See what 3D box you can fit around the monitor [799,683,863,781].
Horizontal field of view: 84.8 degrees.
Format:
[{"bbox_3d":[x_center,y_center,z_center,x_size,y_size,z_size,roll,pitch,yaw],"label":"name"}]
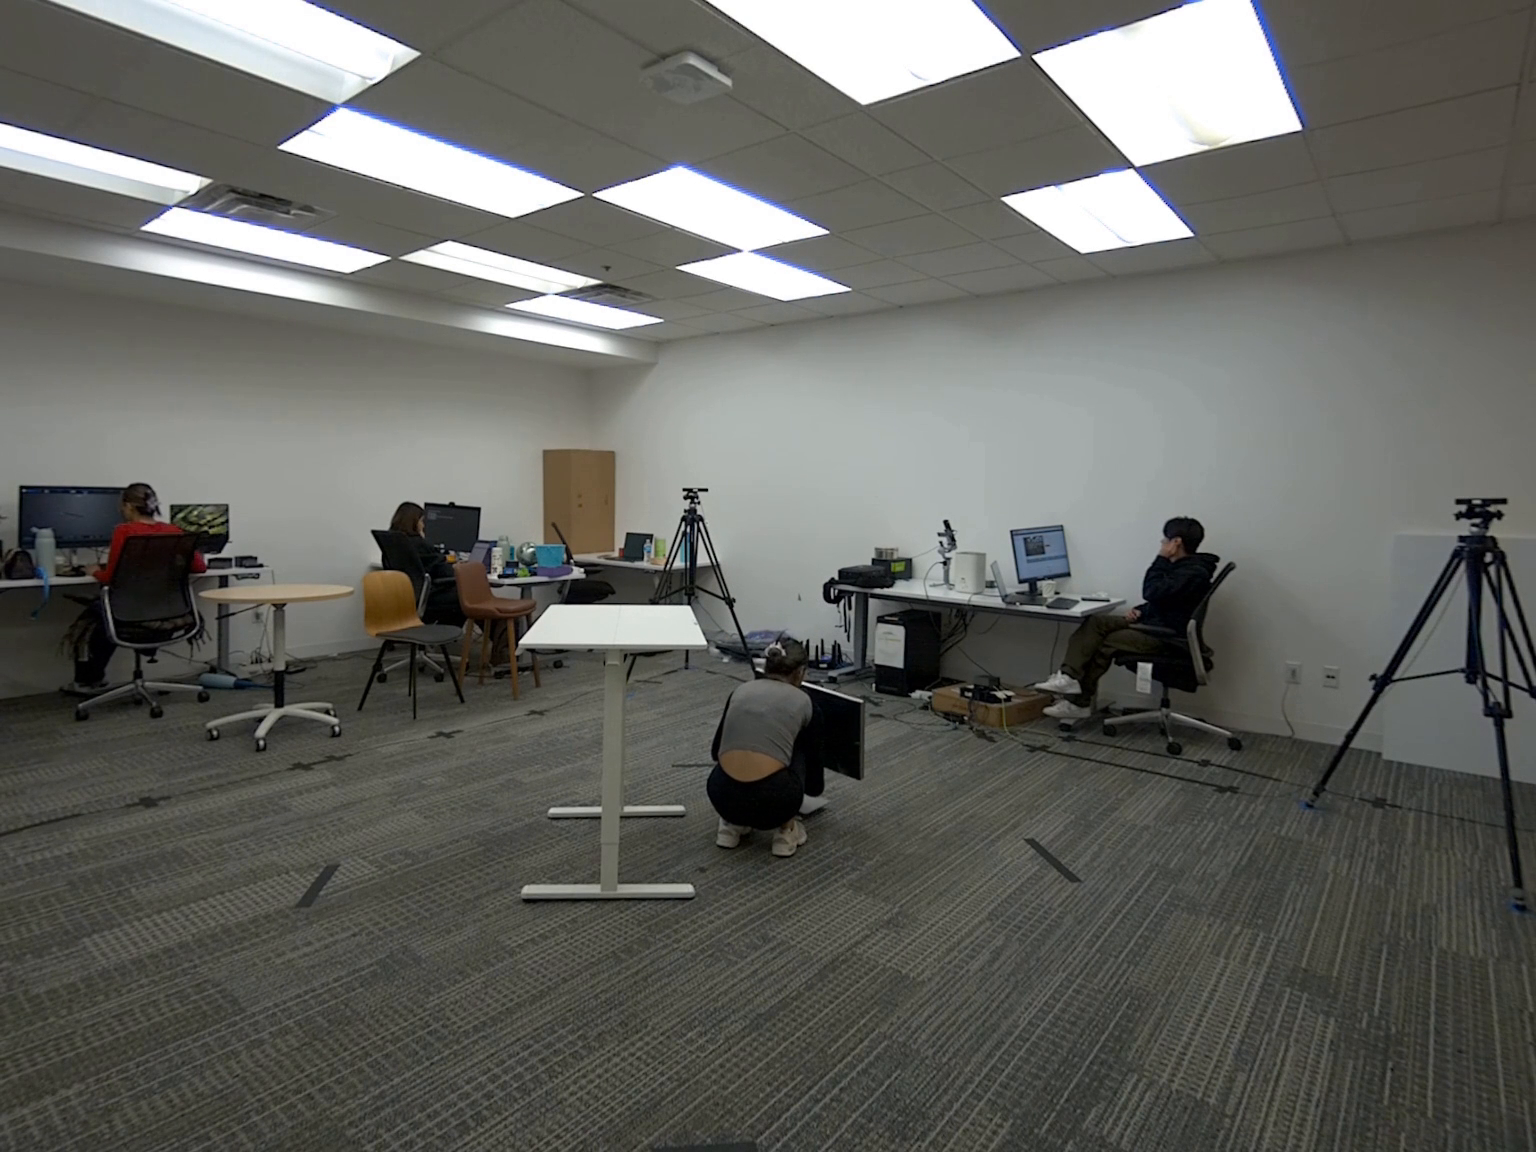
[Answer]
[{"bbox_3d":[0.132,0.723,3.690,0.558,0.520,0.181,10,7,36],"label":"monitor"}]
